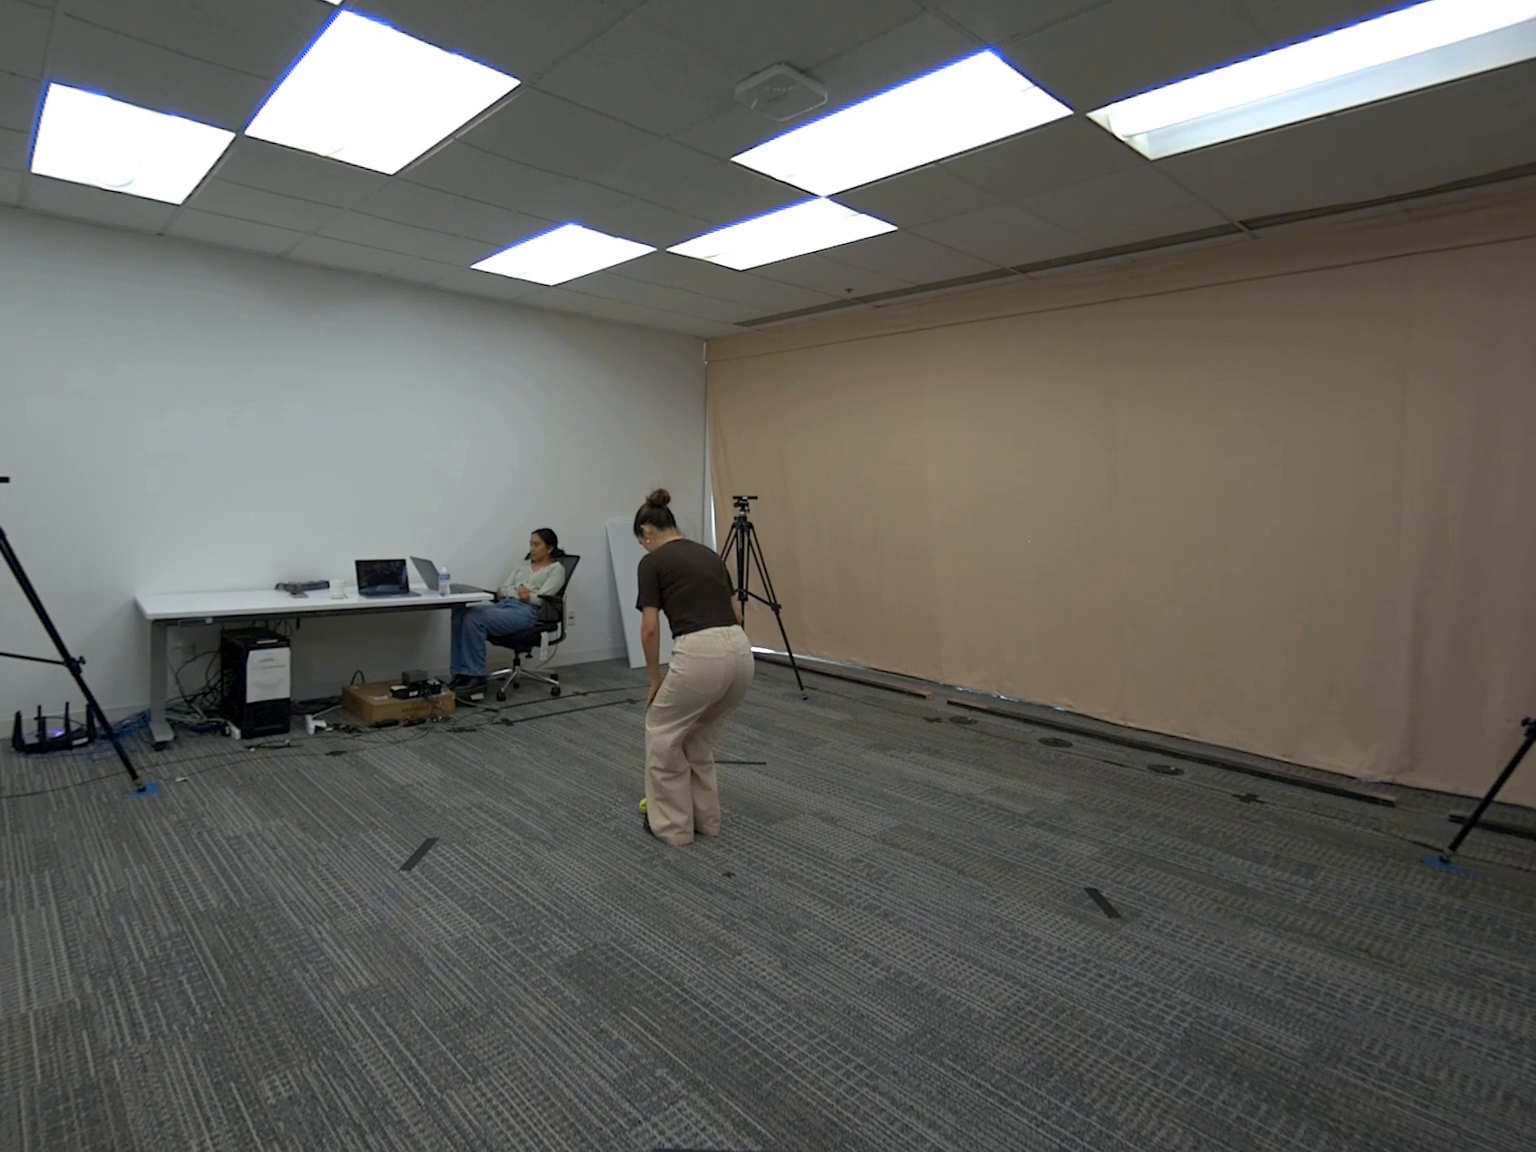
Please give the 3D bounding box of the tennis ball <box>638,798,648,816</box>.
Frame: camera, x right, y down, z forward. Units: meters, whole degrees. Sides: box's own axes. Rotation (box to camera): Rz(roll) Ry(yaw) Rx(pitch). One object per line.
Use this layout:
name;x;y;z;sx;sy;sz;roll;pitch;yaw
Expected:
tennis ball;-0.527;1.003;3.681;0.066;0.066;0.067;1;4;-1
